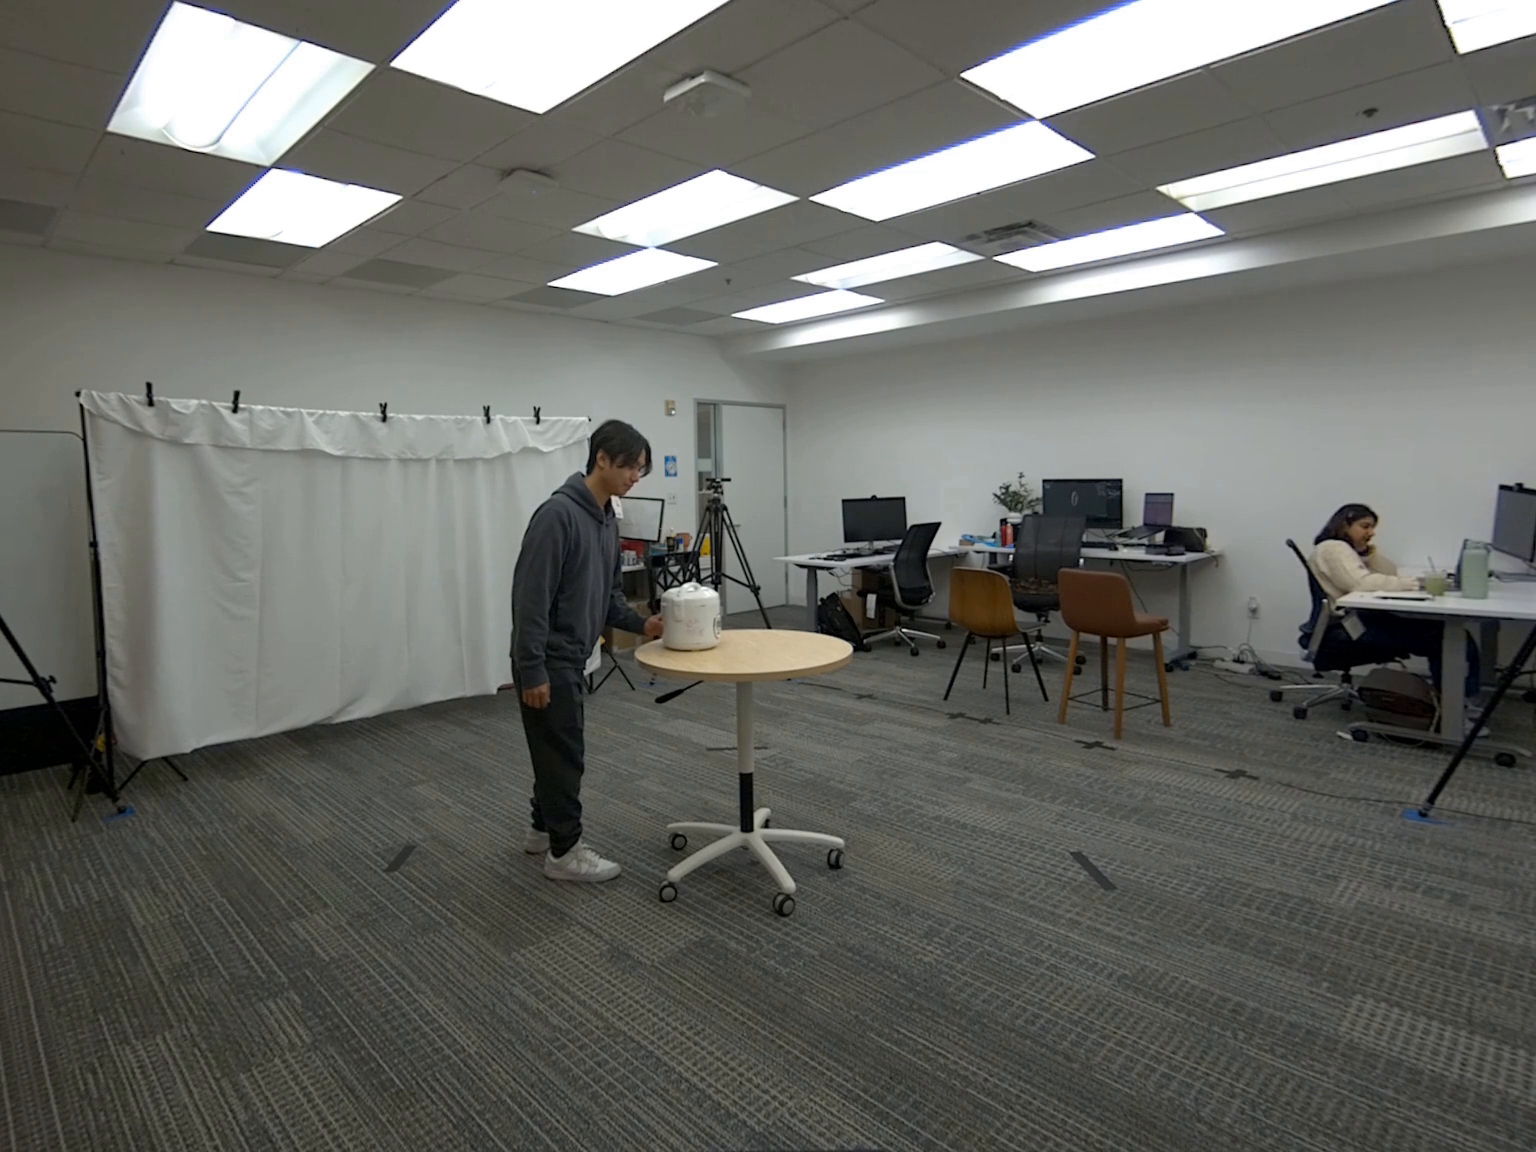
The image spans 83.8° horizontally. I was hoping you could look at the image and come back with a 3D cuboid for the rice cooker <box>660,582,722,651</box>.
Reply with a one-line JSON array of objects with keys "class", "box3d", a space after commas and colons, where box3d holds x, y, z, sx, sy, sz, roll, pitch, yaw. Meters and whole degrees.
[{"class": "rice cooker", "box3d": [-0.275, 0.139, 3.061, 0.222, 0.232, 0.217, -1, 5, 23]}]
